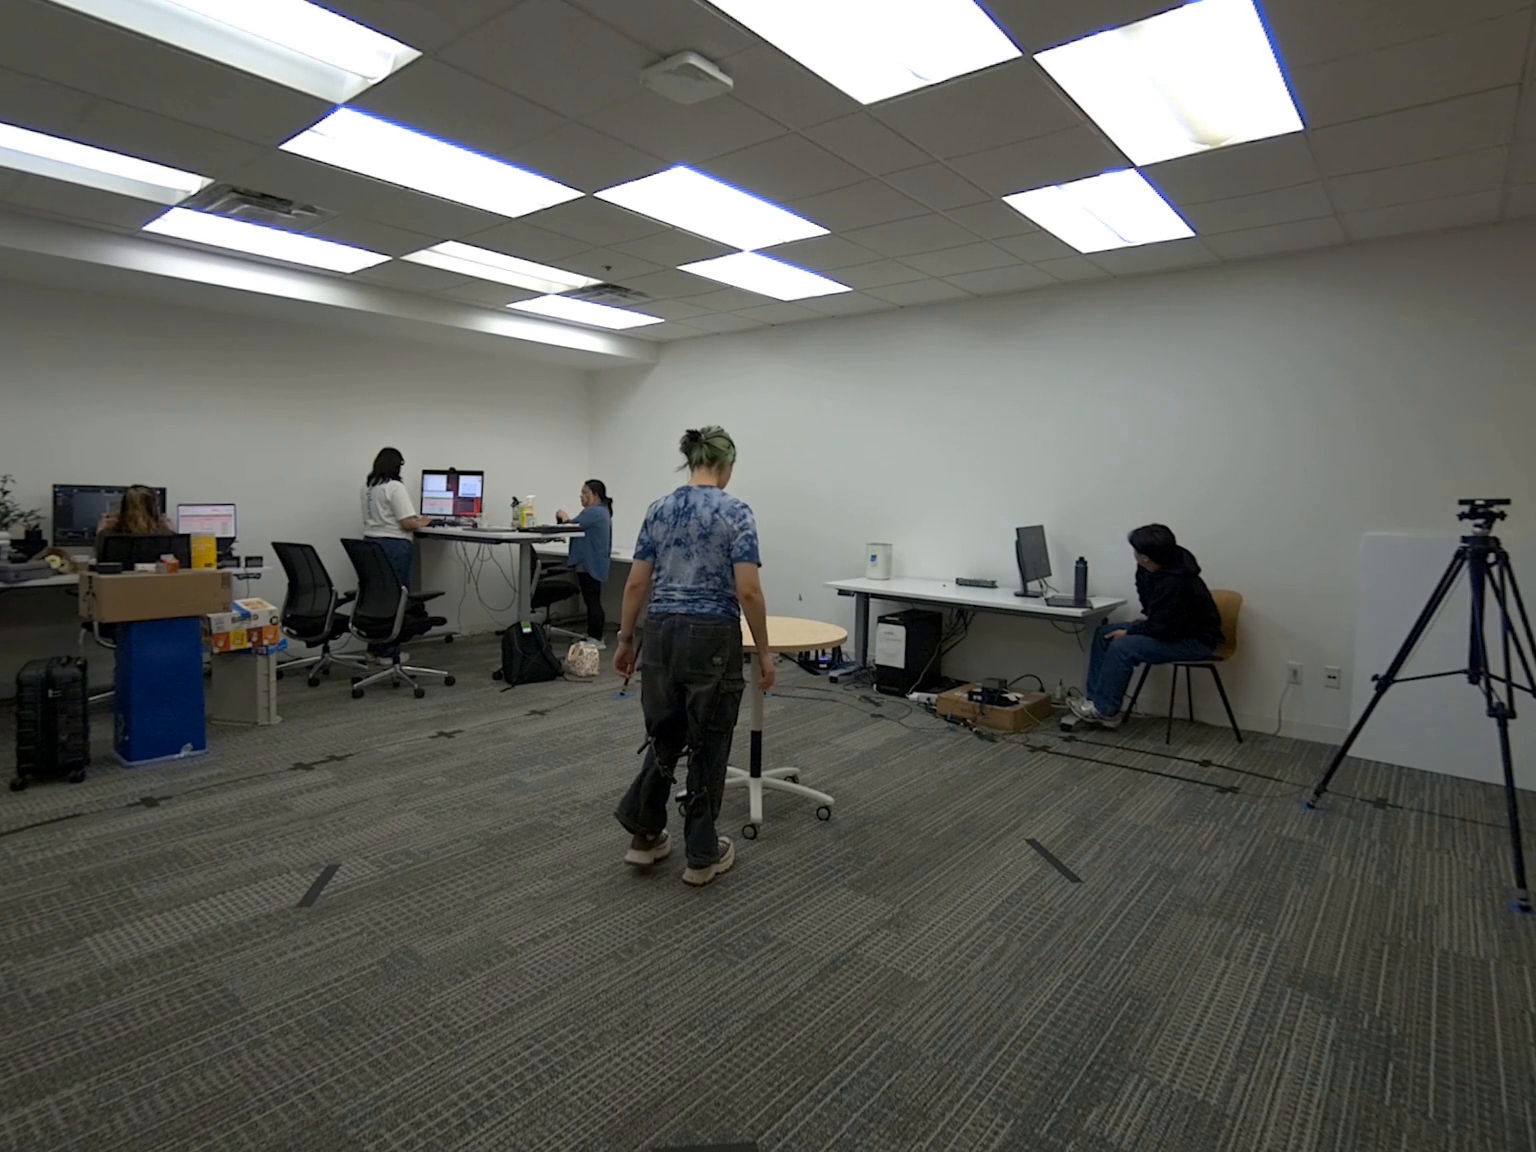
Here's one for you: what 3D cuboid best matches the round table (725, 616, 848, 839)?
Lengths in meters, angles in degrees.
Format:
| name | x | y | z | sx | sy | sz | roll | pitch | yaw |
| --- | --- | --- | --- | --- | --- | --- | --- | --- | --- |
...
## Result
| name | x | y | z | sx | sy | sz | roll | pitch | yaw |
| --- | --- | --- | --- | --- | --- | --- | --- | --- | --- |
| round table | -0.054 | 0.625 | 3.711 | 0.763 | 0.791 | 0.768 | 2 | 4 | -2 |
